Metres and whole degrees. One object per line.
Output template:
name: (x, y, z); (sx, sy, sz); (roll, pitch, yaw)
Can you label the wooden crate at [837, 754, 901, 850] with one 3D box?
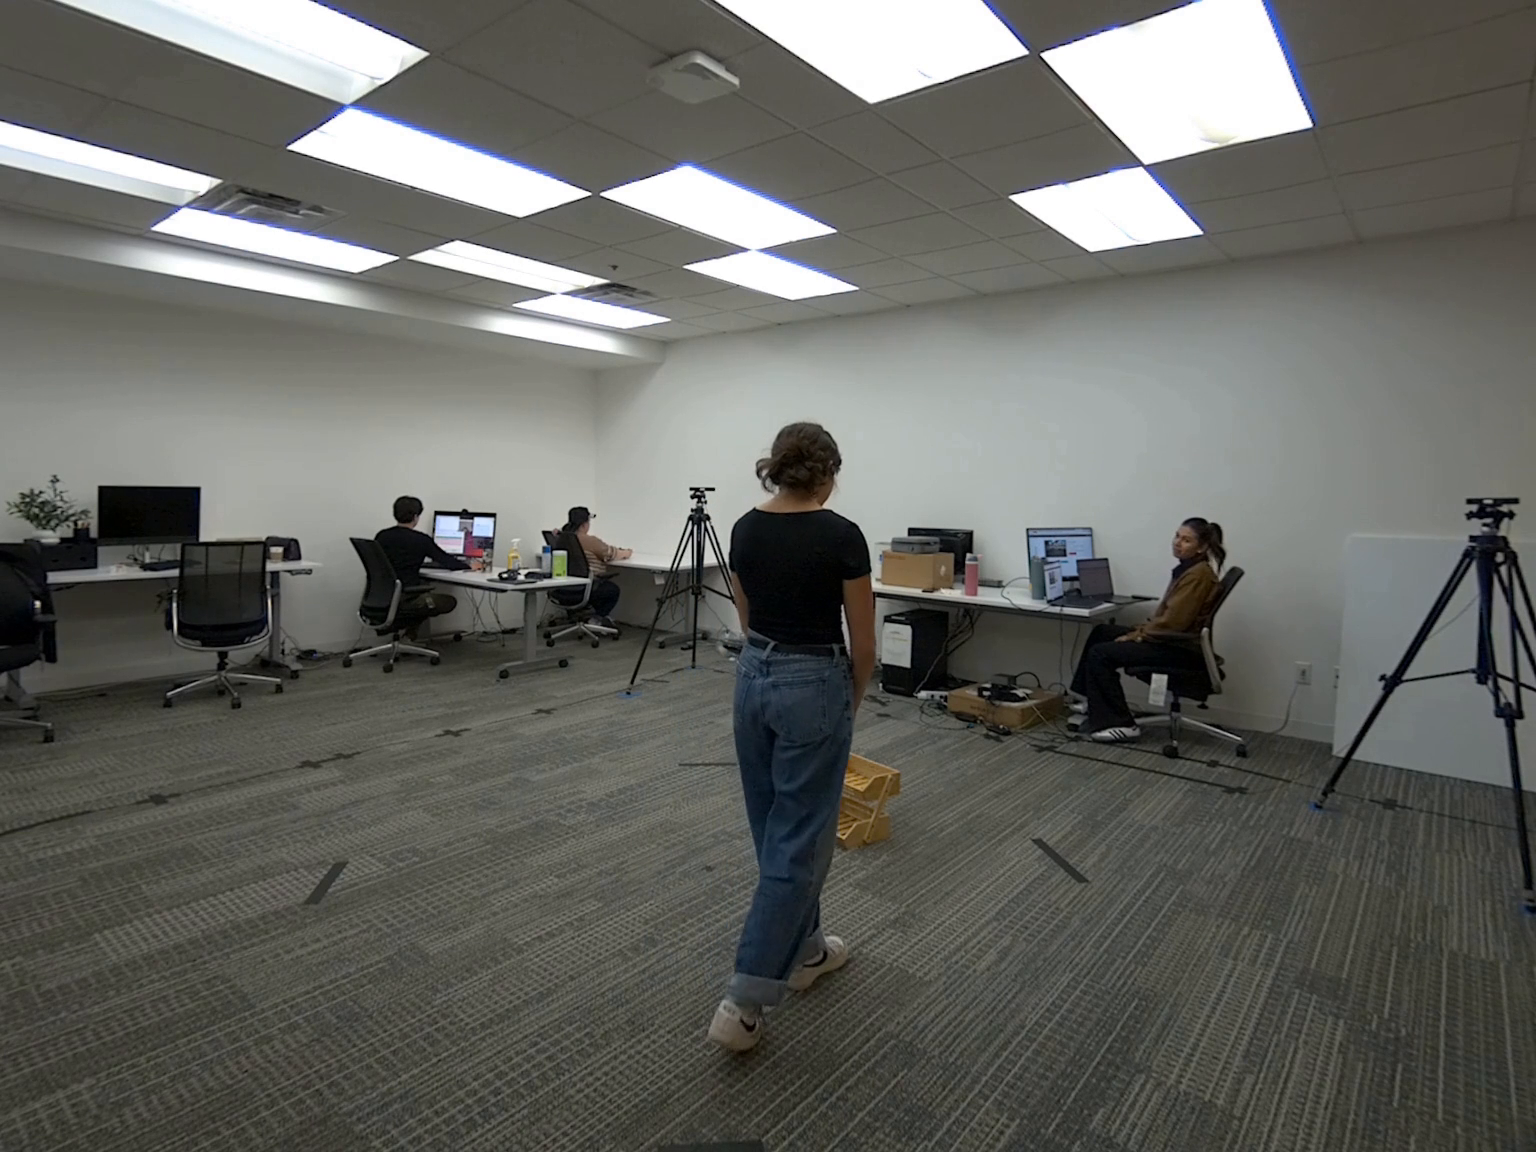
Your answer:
wooden crate: (0.318, 0.905, 3.494); (0.293, 0.272, 0.335); (-1, 5, -37)
